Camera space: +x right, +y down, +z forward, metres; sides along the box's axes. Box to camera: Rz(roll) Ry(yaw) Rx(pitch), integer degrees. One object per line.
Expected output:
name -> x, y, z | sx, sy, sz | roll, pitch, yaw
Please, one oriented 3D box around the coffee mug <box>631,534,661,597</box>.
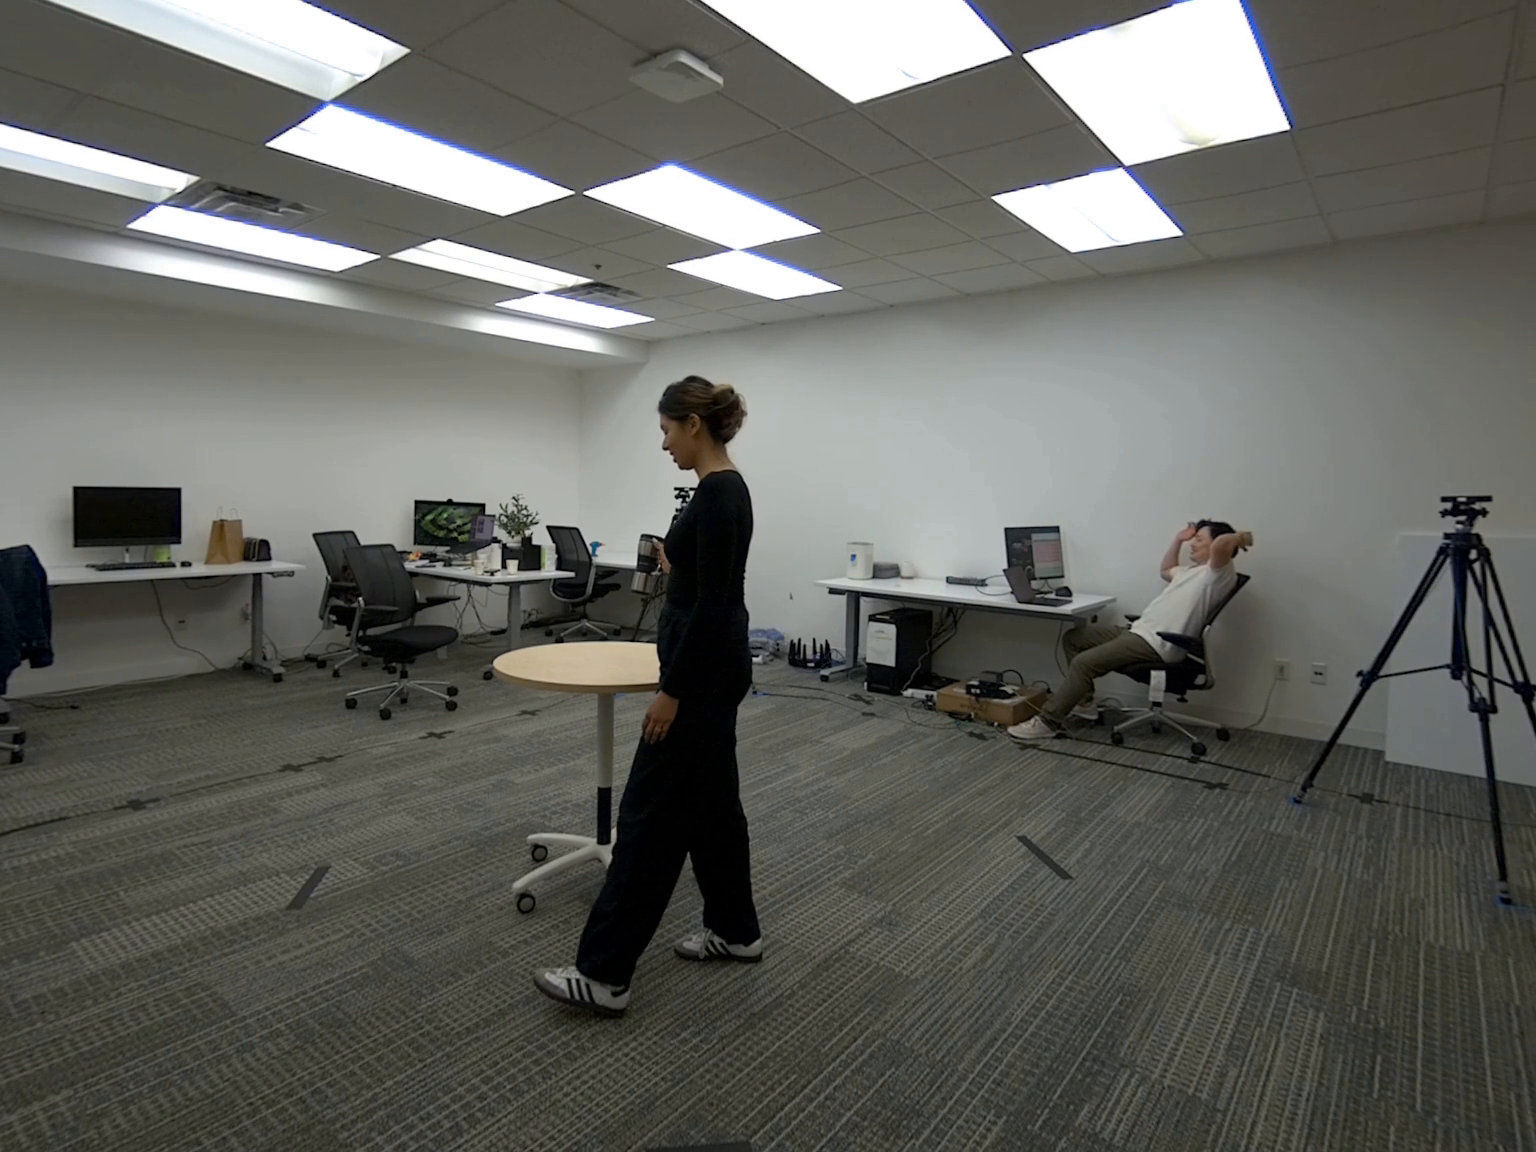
coffee mug -> -0.412, -0.036, 2.870 | 0.085, 0.204, 0.126 | 19, -8, -35
